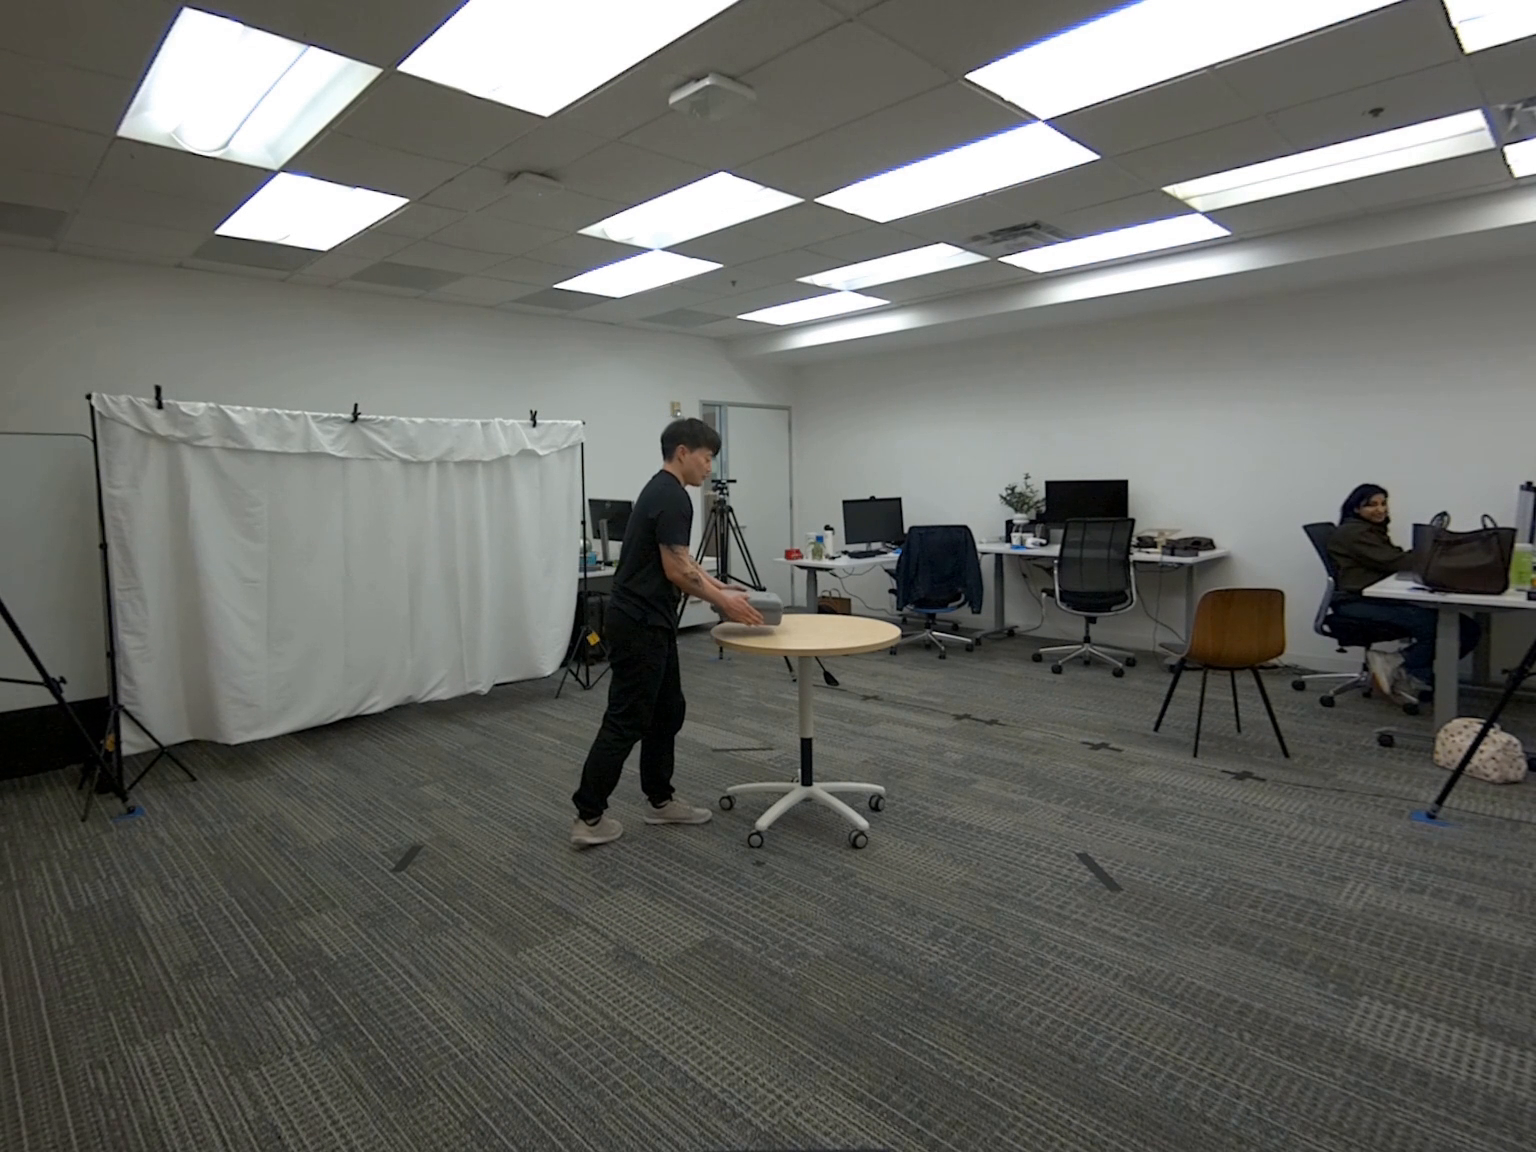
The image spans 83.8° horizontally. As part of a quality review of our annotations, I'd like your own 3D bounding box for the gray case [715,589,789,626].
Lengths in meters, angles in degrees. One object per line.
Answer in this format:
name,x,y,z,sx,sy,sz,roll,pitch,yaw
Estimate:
gray case,-0.071,0.121,3.434,0.259,0.104,0.259,2,5,-6
